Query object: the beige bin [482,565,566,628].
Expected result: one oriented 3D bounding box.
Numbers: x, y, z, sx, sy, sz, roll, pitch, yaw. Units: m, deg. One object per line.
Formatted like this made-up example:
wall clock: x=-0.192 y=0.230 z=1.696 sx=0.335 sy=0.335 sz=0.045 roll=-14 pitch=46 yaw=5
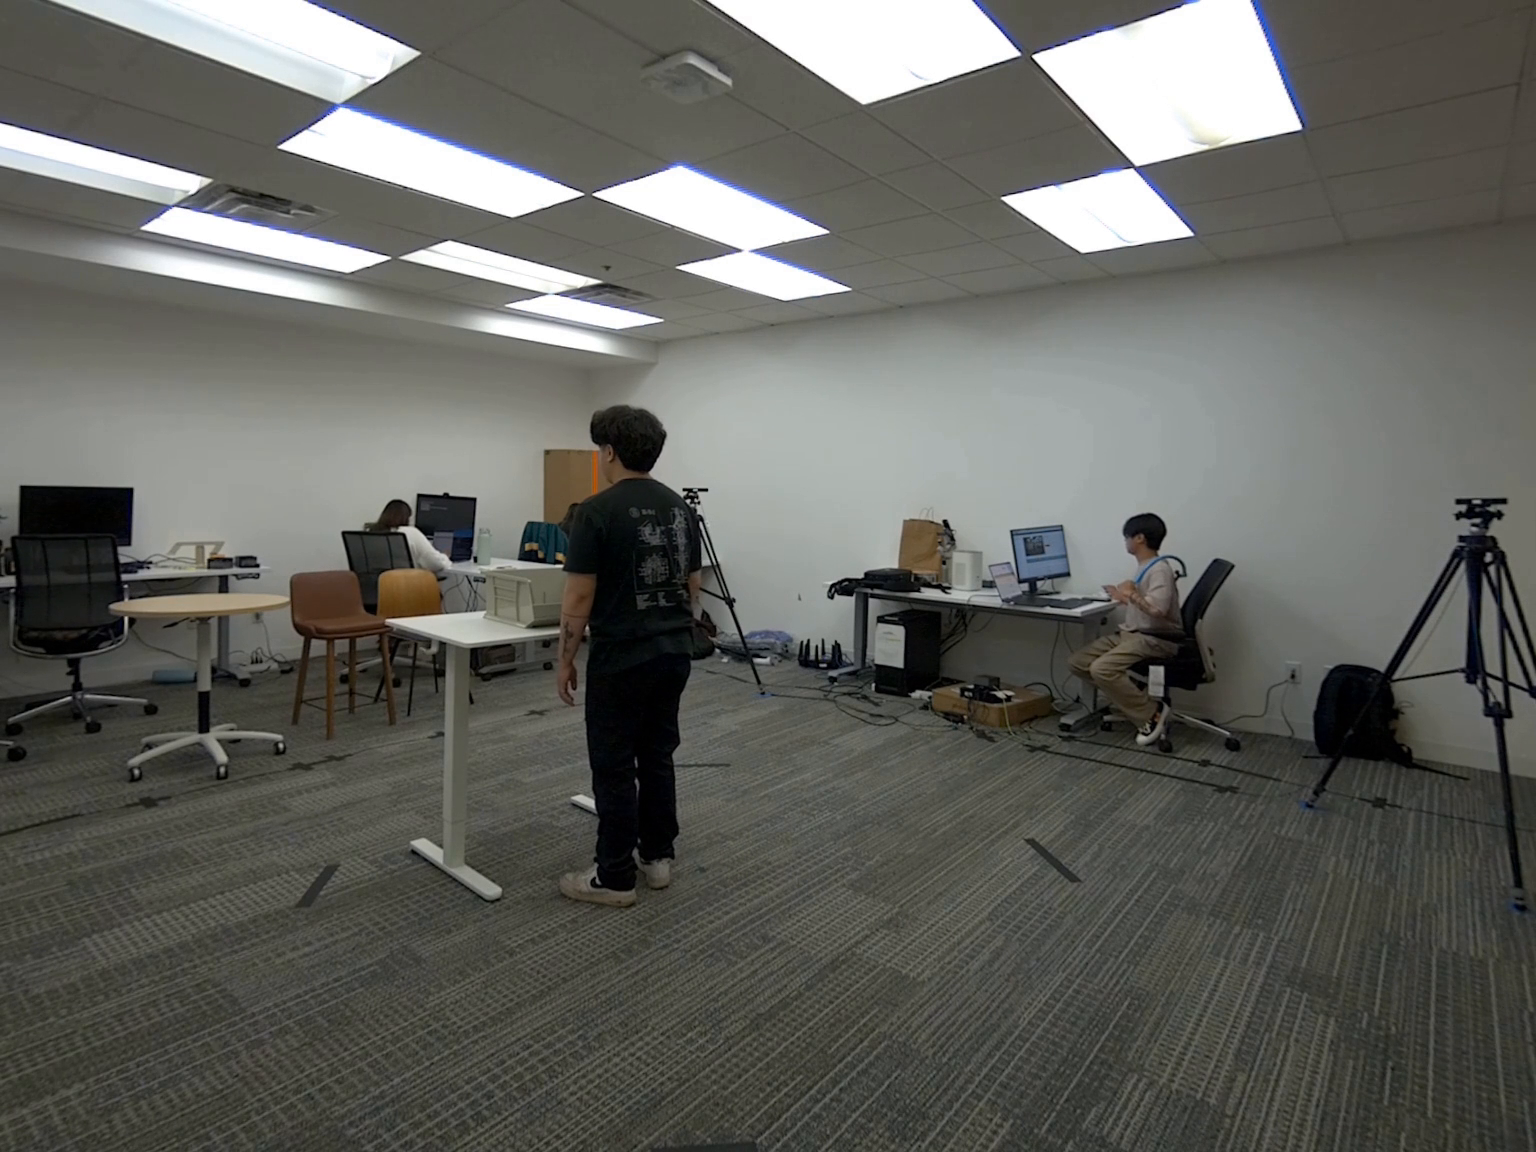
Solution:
beige bin: x=-0.827 y=0.075 z=3.254 sx=0.410 sy=0.188 sz=0.390 roll=-4 pitch=7 yaw=-44
